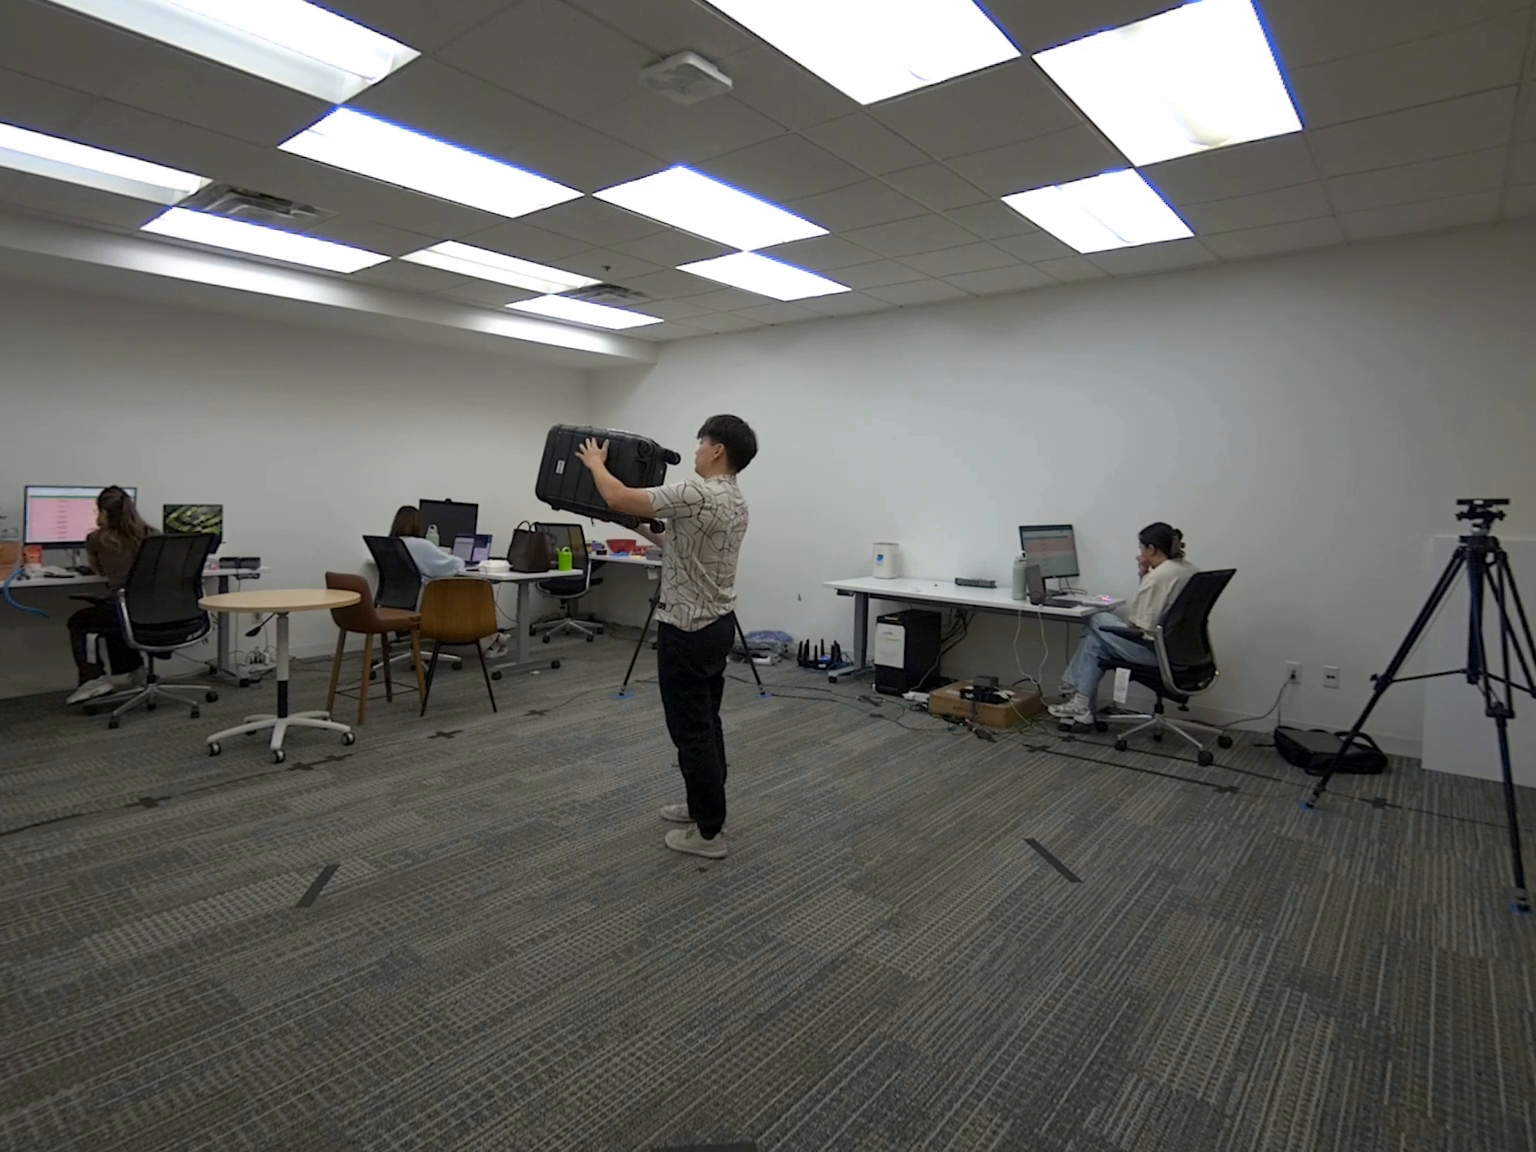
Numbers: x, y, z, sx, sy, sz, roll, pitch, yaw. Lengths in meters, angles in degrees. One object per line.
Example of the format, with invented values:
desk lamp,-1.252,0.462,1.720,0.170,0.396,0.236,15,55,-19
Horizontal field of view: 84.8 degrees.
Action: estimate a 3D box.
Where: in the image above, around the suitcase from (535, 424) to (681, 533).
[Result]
suitcase,-0.692,-0.430,3.533,0.566,0.375,0.241,15,2,26
